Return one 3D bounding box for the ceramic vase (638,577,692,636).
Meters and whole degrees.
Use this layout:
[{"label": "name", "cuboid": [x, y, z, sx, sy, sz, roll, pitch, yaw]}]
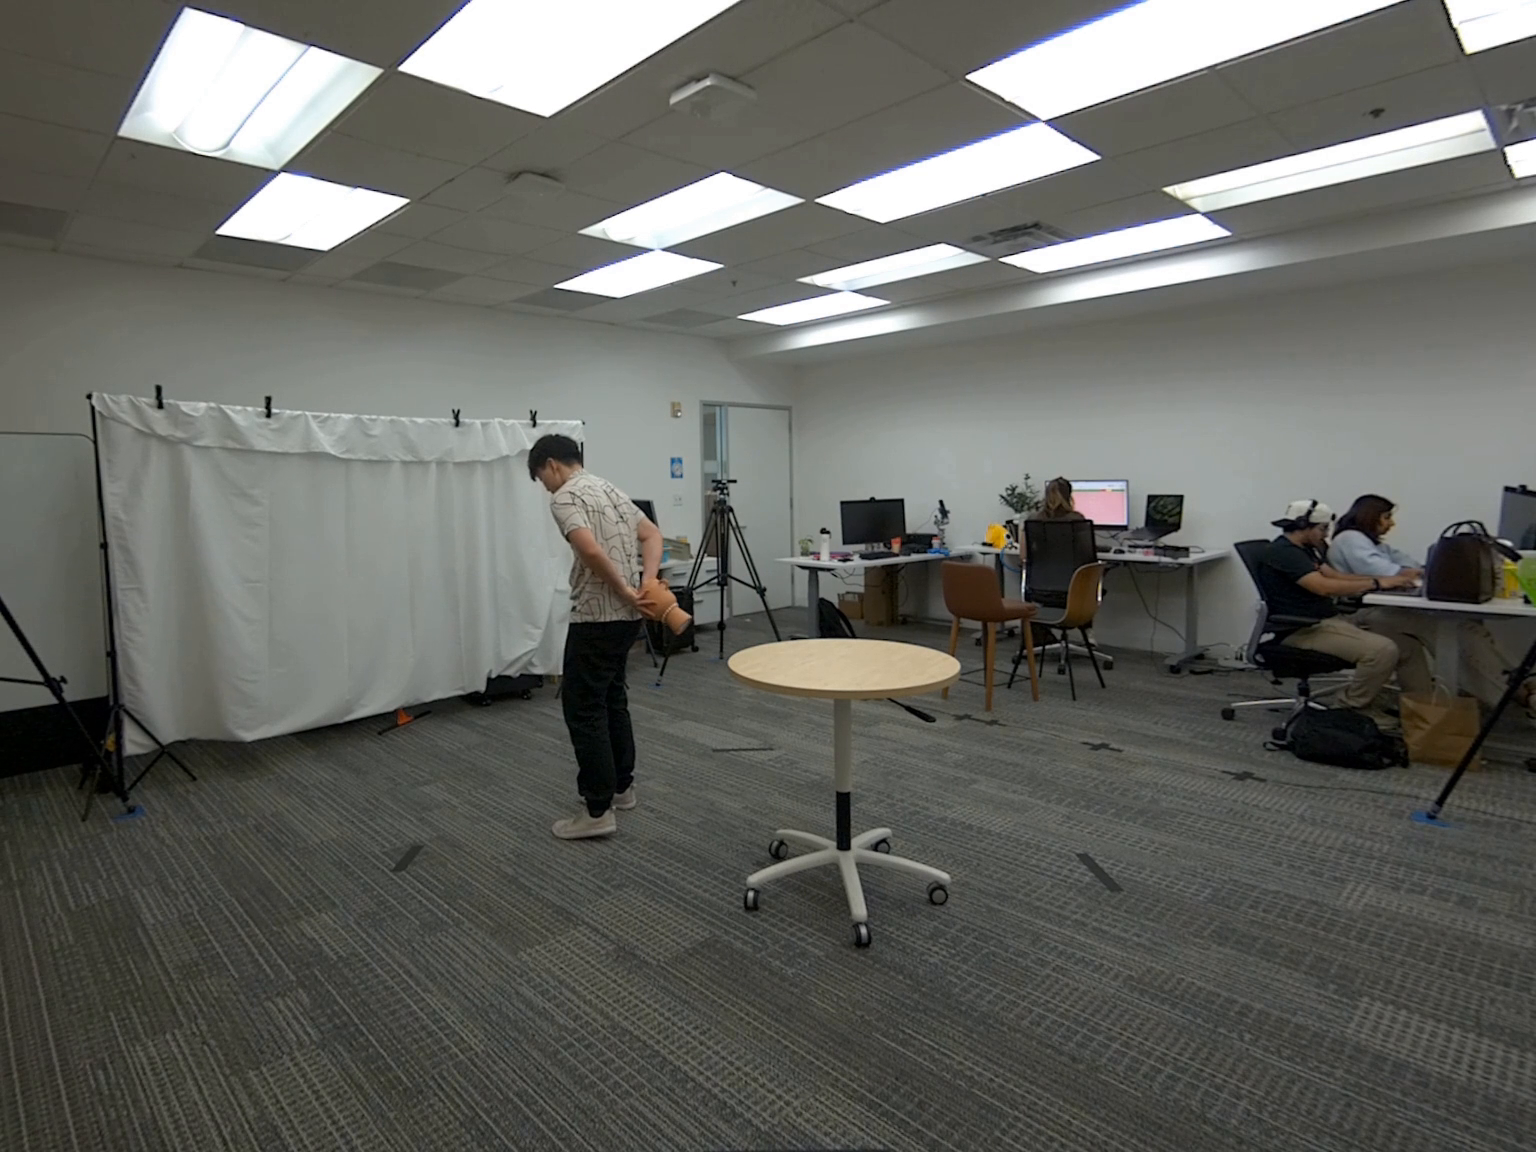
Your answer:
[{"label": "ceramic vase", "cuboid": [-0.422, 0.130, 3.464, 0.134, 0.224, 0.156, -43, -14, -29]}]
